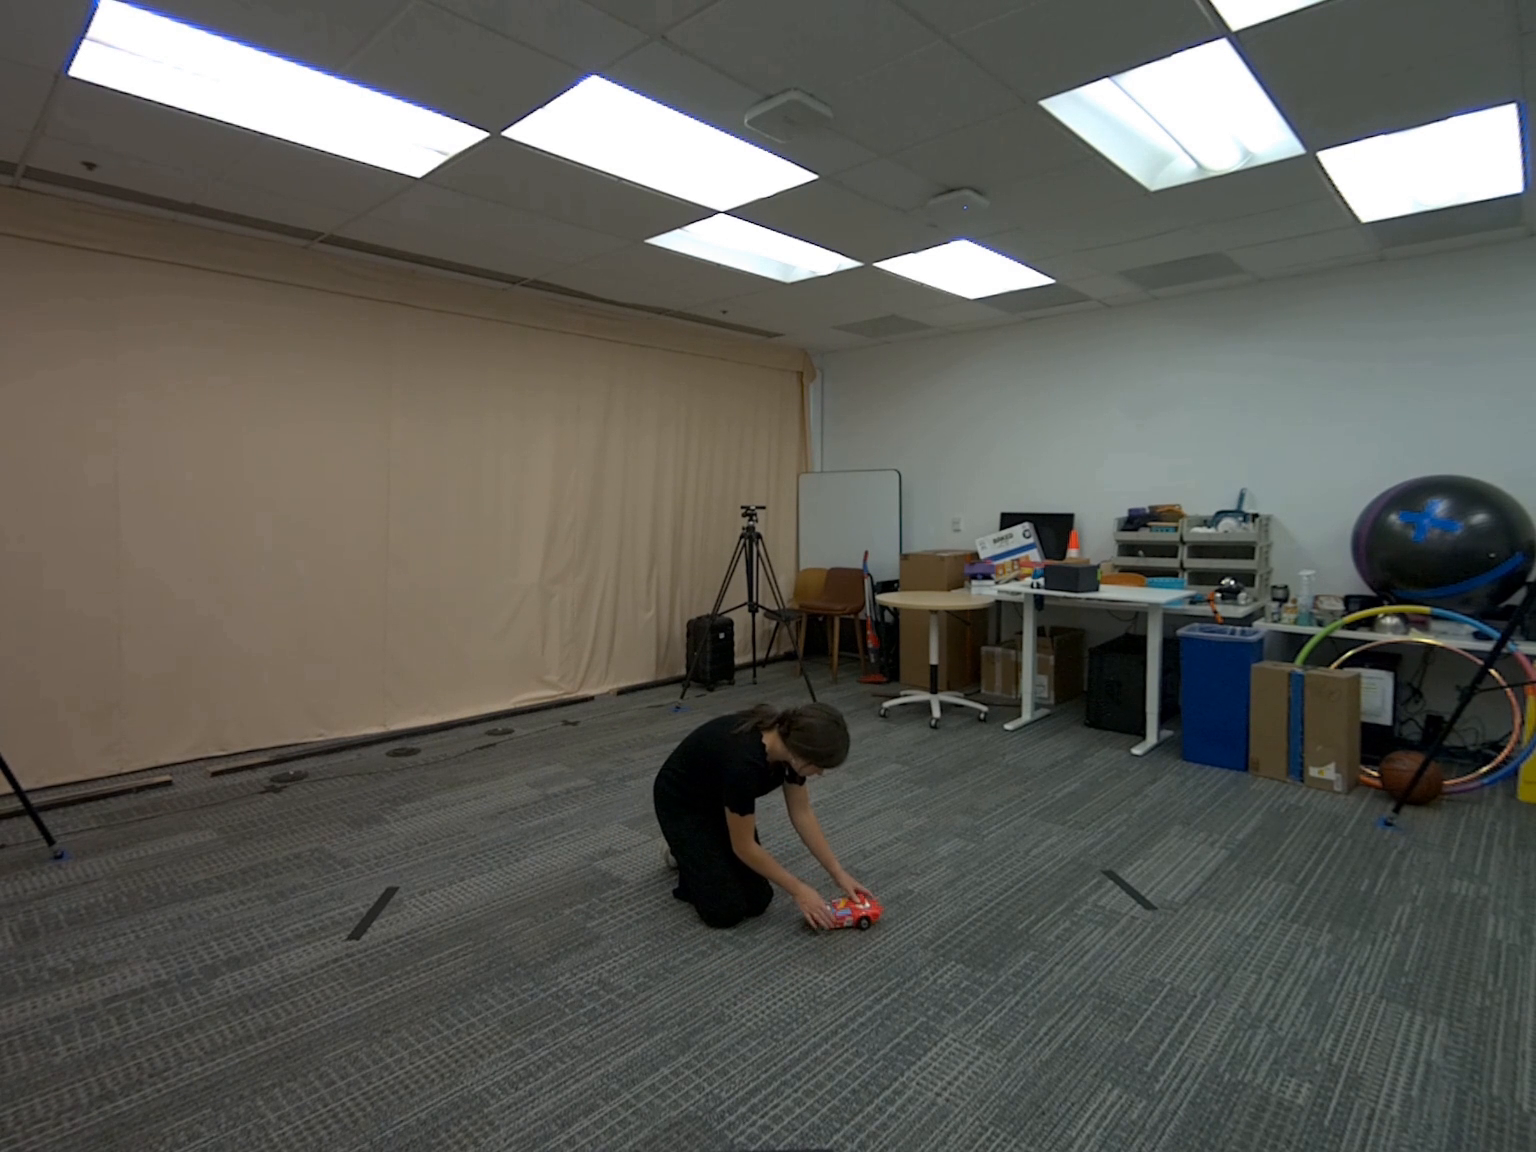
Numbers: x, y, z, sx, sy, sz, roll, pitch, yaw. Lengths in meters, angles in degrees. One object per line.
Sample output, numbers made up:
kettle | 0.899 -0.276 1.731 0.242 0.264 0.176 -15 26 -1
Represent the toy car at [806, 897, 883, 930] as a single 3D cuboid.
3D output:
toy car | 0.261 1.130 2.794 0.253 0.083 0.132 -12 7 -6
